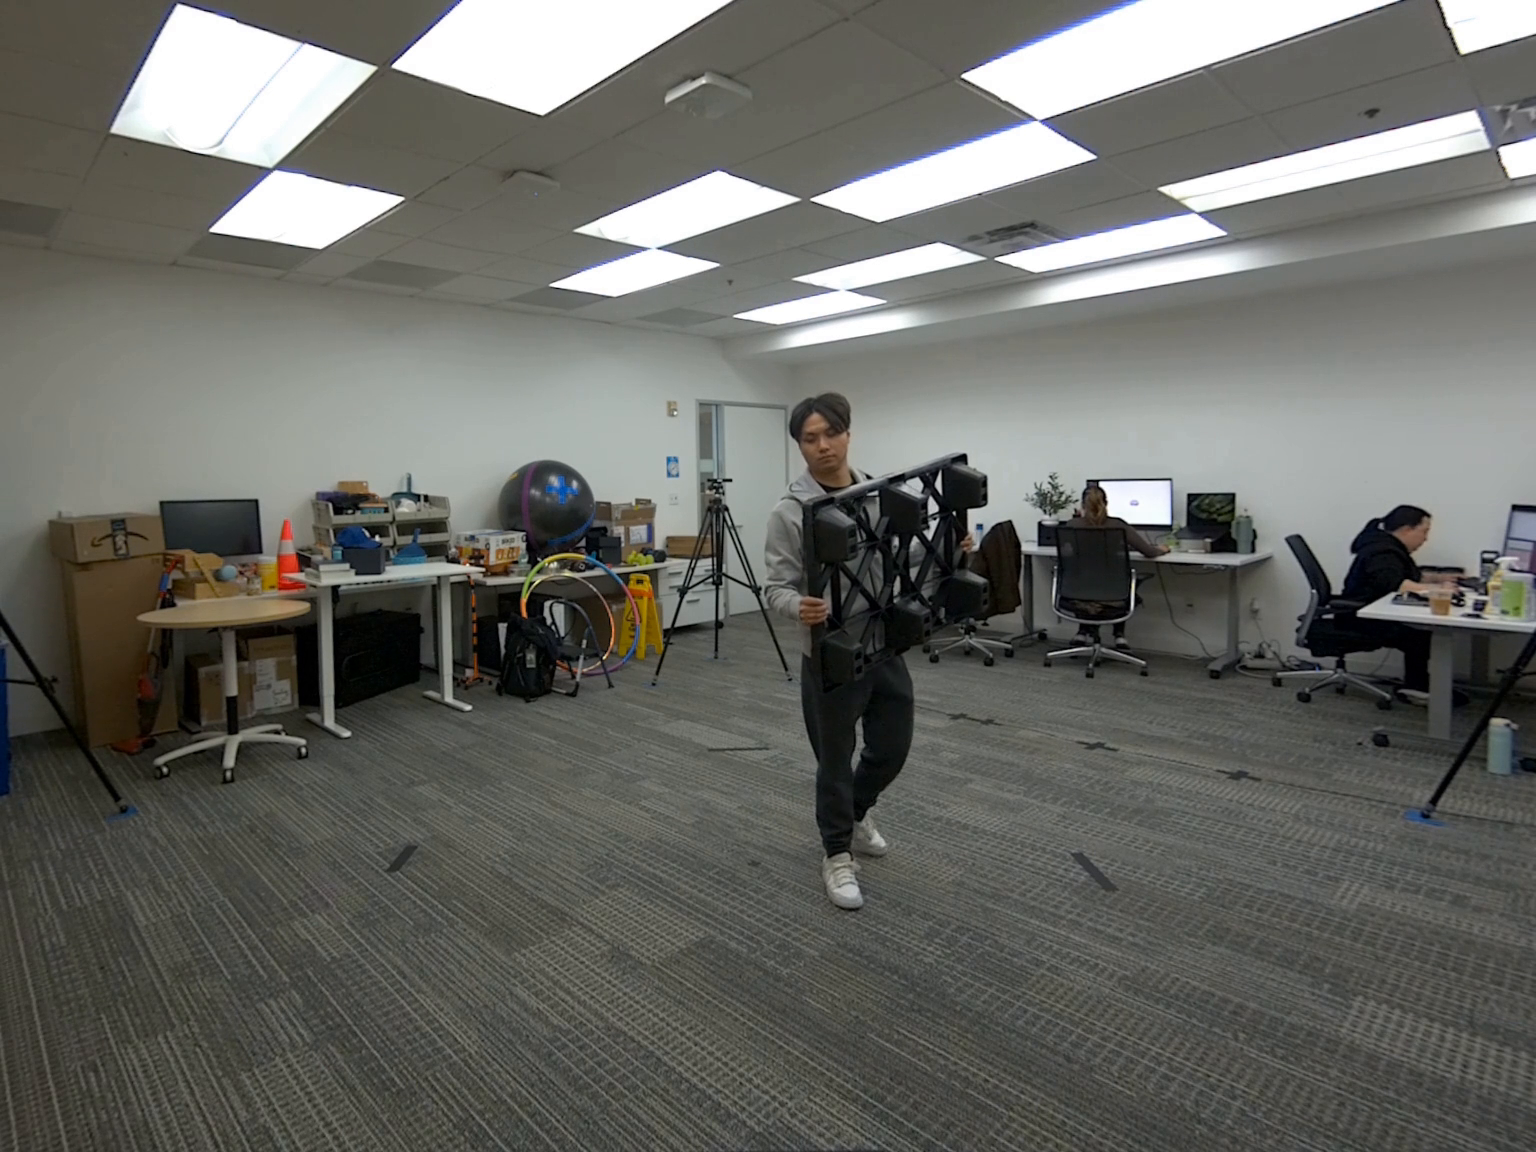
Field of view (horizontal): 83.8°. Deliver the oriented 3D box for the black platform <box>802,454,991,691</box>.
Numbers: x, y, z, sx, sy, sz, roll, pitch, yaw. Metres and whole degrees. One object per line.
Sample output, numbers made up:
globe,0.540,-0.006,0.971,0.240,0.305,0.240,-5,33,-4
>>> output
black platform,0.439,-0.020,2.711,0.791,0.596,0.148,-20,20,-39
